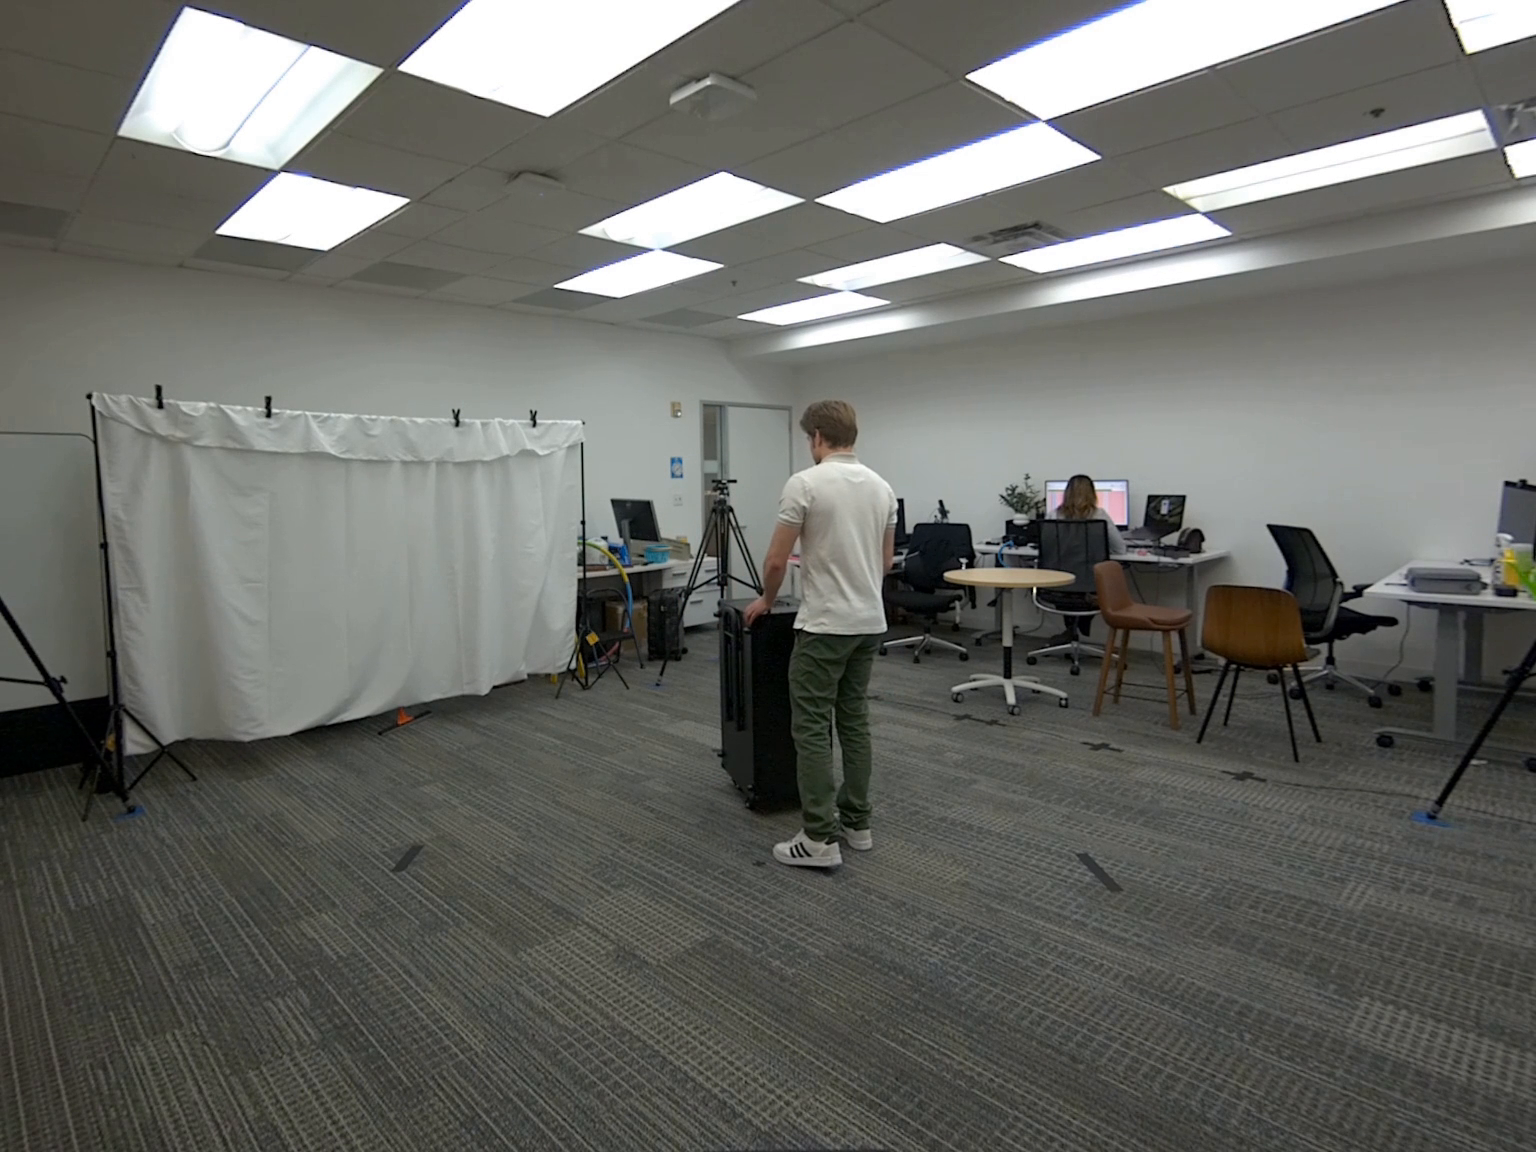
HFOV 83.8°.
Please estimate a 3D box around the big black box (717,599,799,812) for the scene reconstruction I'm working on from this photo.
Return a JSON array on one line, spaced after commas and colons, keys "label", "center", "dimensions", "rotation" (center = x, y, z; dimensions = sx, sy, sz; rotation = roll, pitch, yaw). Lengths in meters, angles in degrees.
[{"label": "big black box", "center": [0.020, 0.554, 3.759], "dimensions": [0.379, 0.865, 0.534], "rotation": [-2, 4, -18]}]
